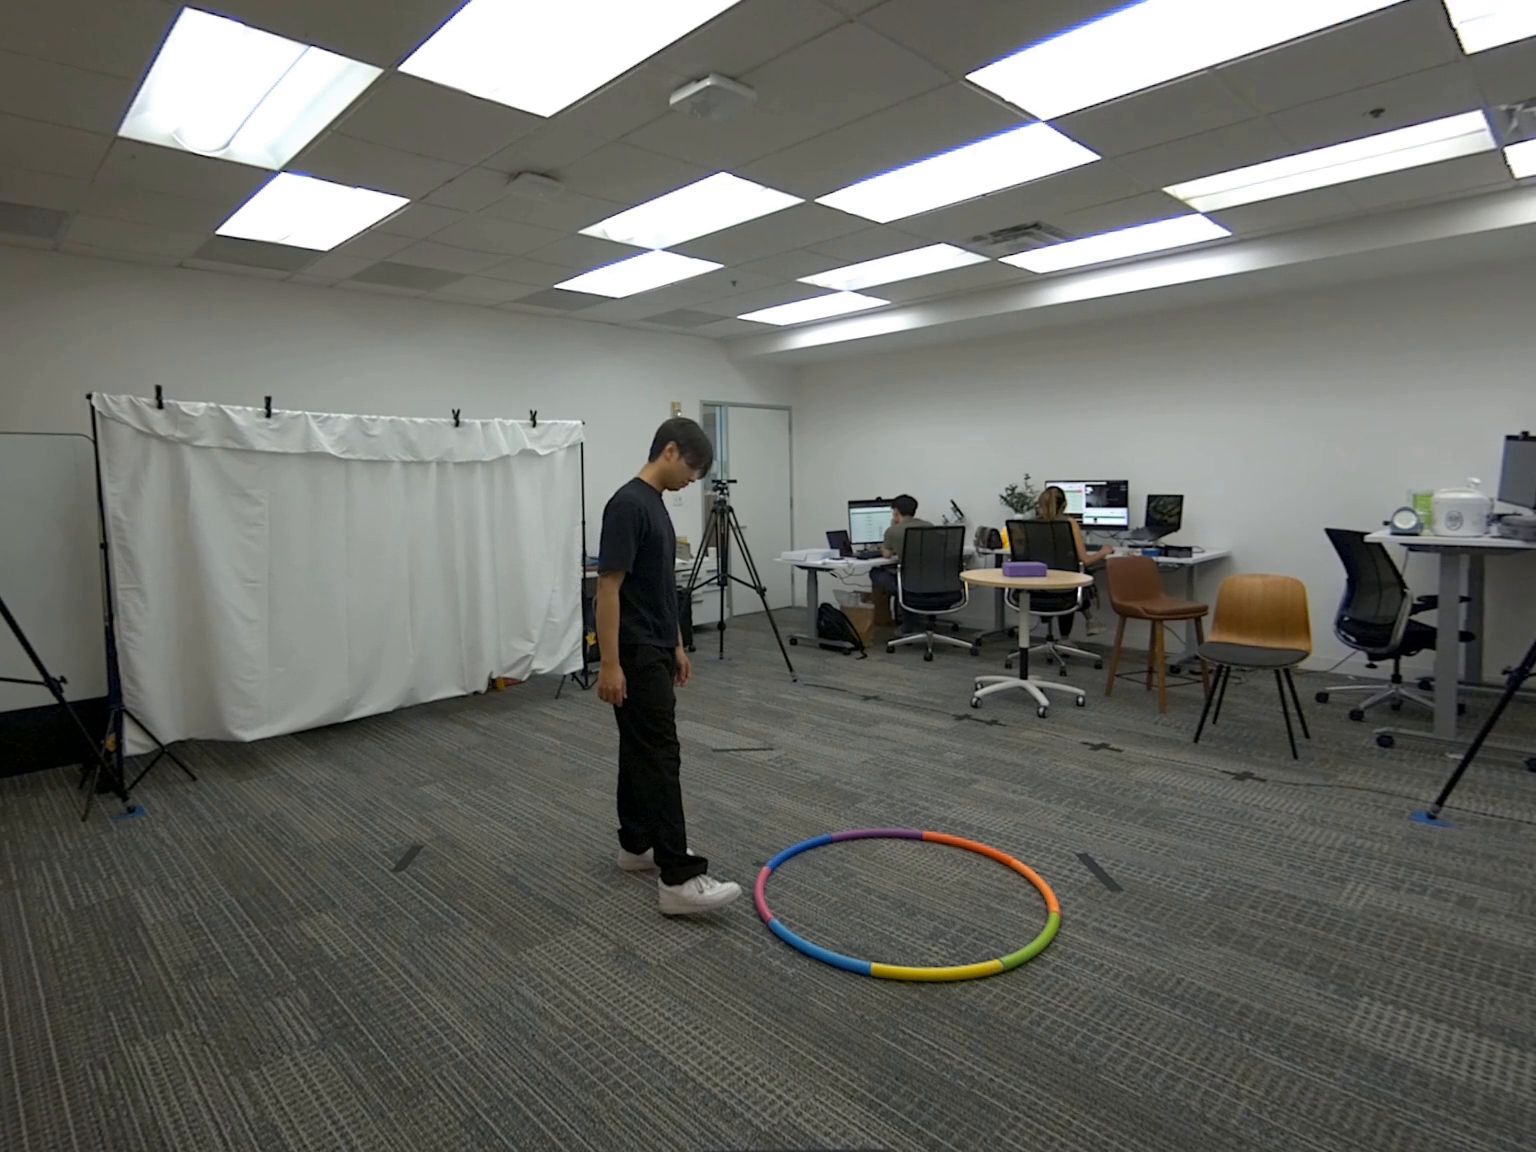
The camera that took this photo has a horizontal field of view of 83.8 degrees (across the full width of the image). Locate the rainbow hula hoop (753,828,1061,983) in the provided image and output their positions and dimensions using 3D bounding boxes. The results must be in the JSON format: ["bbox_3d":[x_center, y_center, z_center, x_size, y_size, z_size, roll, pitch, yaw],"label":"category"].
[{"bbox_3d":[0.442,1.040,2.844,0.978,0.035,0.984,-2,6,-2],"label":"rainbow hula hoop"}]
